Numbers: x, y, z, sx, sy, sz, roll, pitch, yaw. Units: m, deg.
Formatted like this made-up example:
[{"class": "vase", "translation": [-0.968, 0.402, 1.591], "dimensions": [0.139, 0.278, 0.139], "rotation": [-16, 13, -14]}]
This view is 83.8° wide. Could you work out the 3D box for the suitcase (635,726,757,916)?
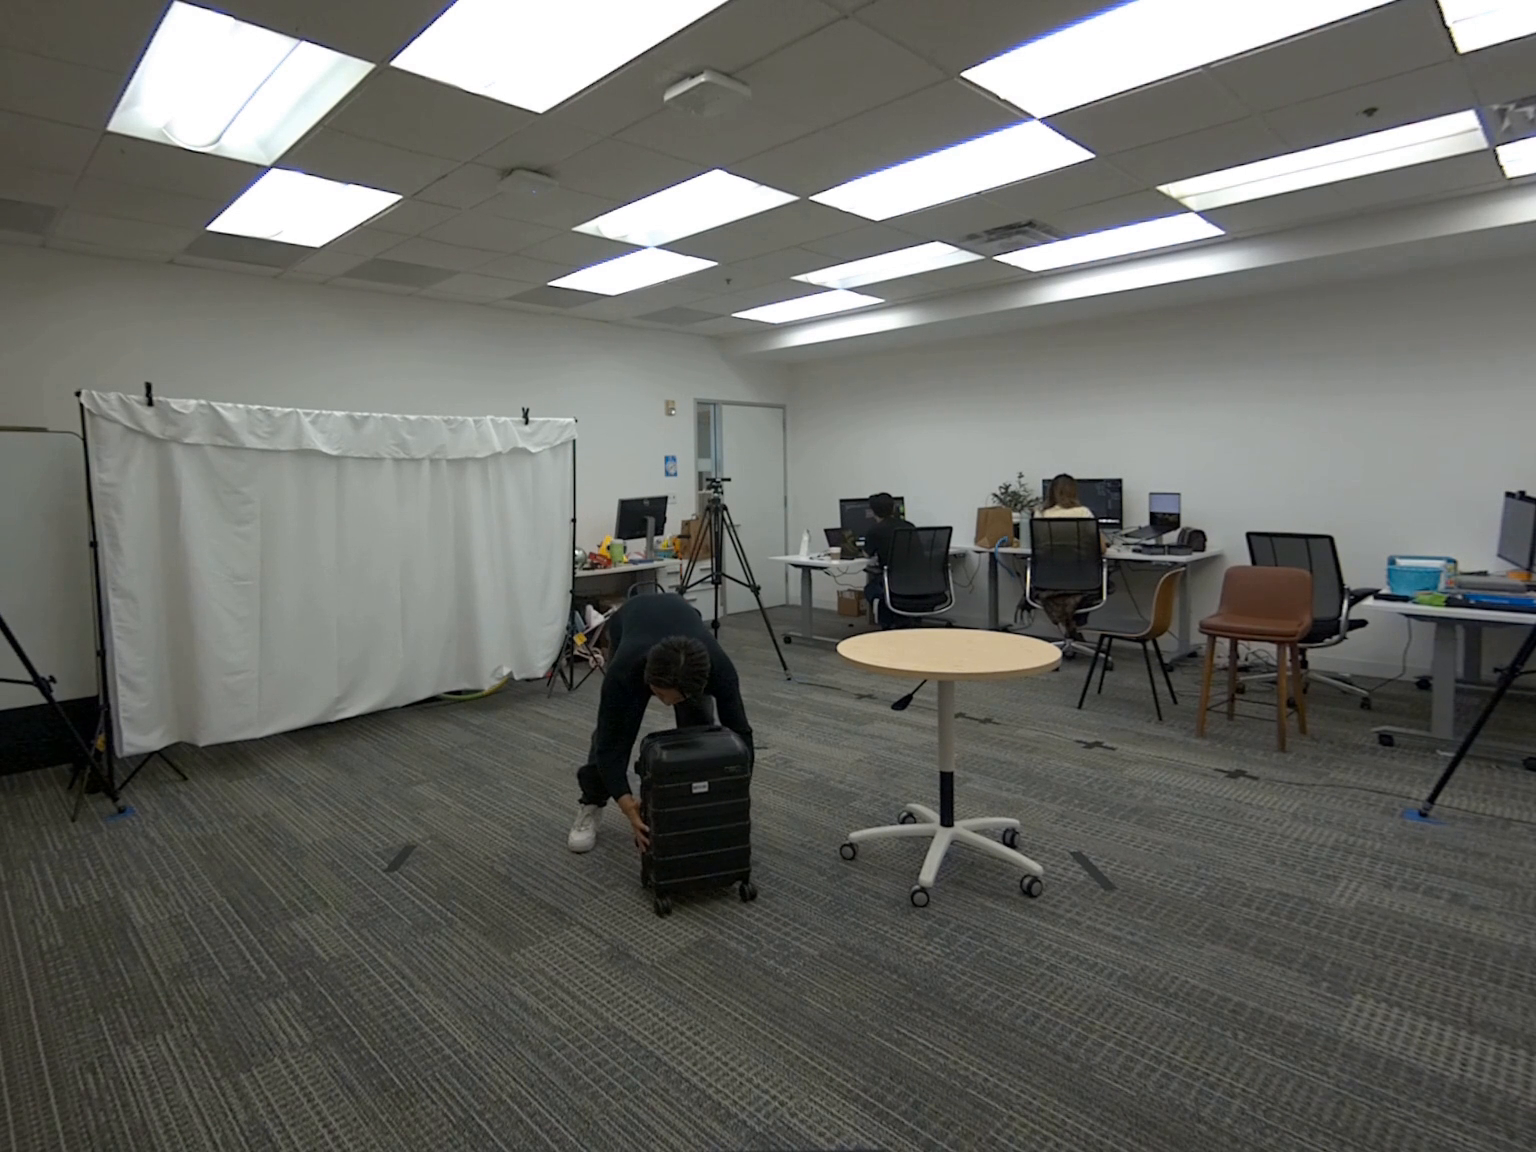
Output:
[{"class": "suitcase", "translation": [-0.249, 0.791, 2.879], "dimensions": [0.369, 0.546, 0.254], "rotation": [-2, 7, -17]}]
